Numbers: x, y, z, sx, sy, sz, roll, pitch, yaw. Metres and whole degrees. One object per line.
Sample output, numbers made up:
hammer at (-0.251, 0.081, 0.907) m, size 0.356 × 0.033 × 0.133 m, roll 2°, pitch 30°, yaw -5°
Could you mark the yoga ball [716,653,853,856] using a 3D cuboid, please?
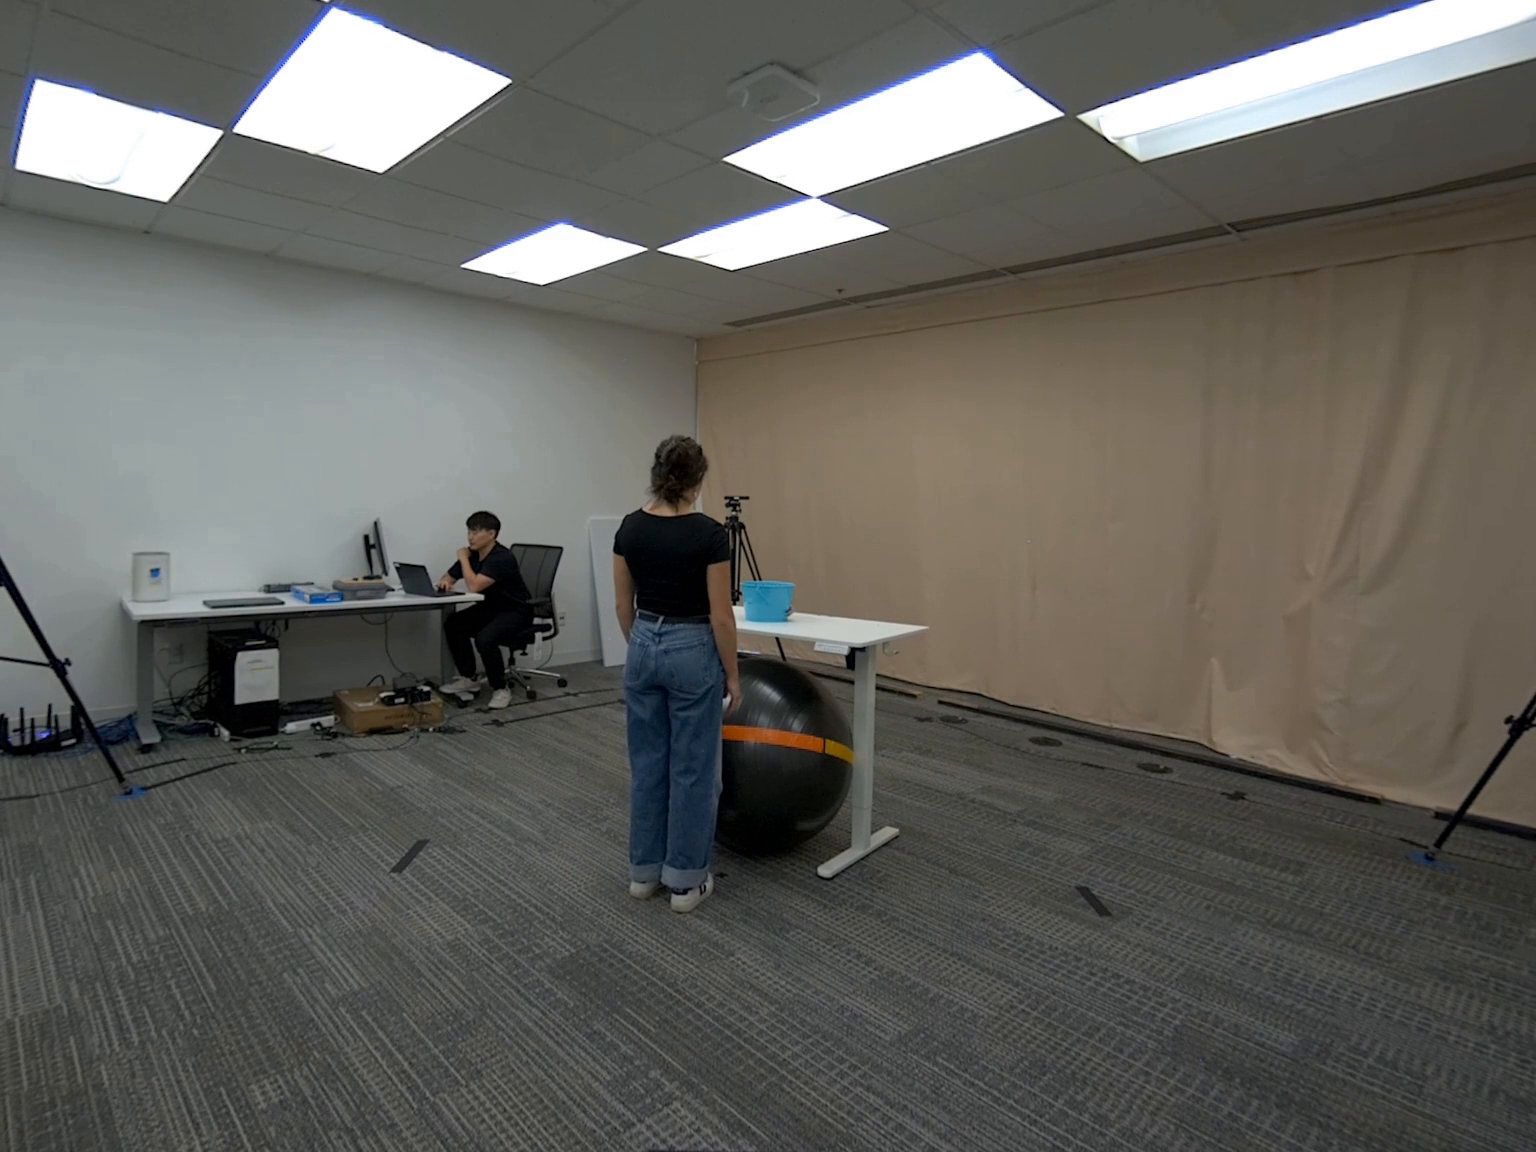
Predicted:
yoga ball at (-0.037, 0.722, 3.383) m, size 0.757 × 0.756 × 0.761 m, roll 1°, pitch 4°, yaw -1°
